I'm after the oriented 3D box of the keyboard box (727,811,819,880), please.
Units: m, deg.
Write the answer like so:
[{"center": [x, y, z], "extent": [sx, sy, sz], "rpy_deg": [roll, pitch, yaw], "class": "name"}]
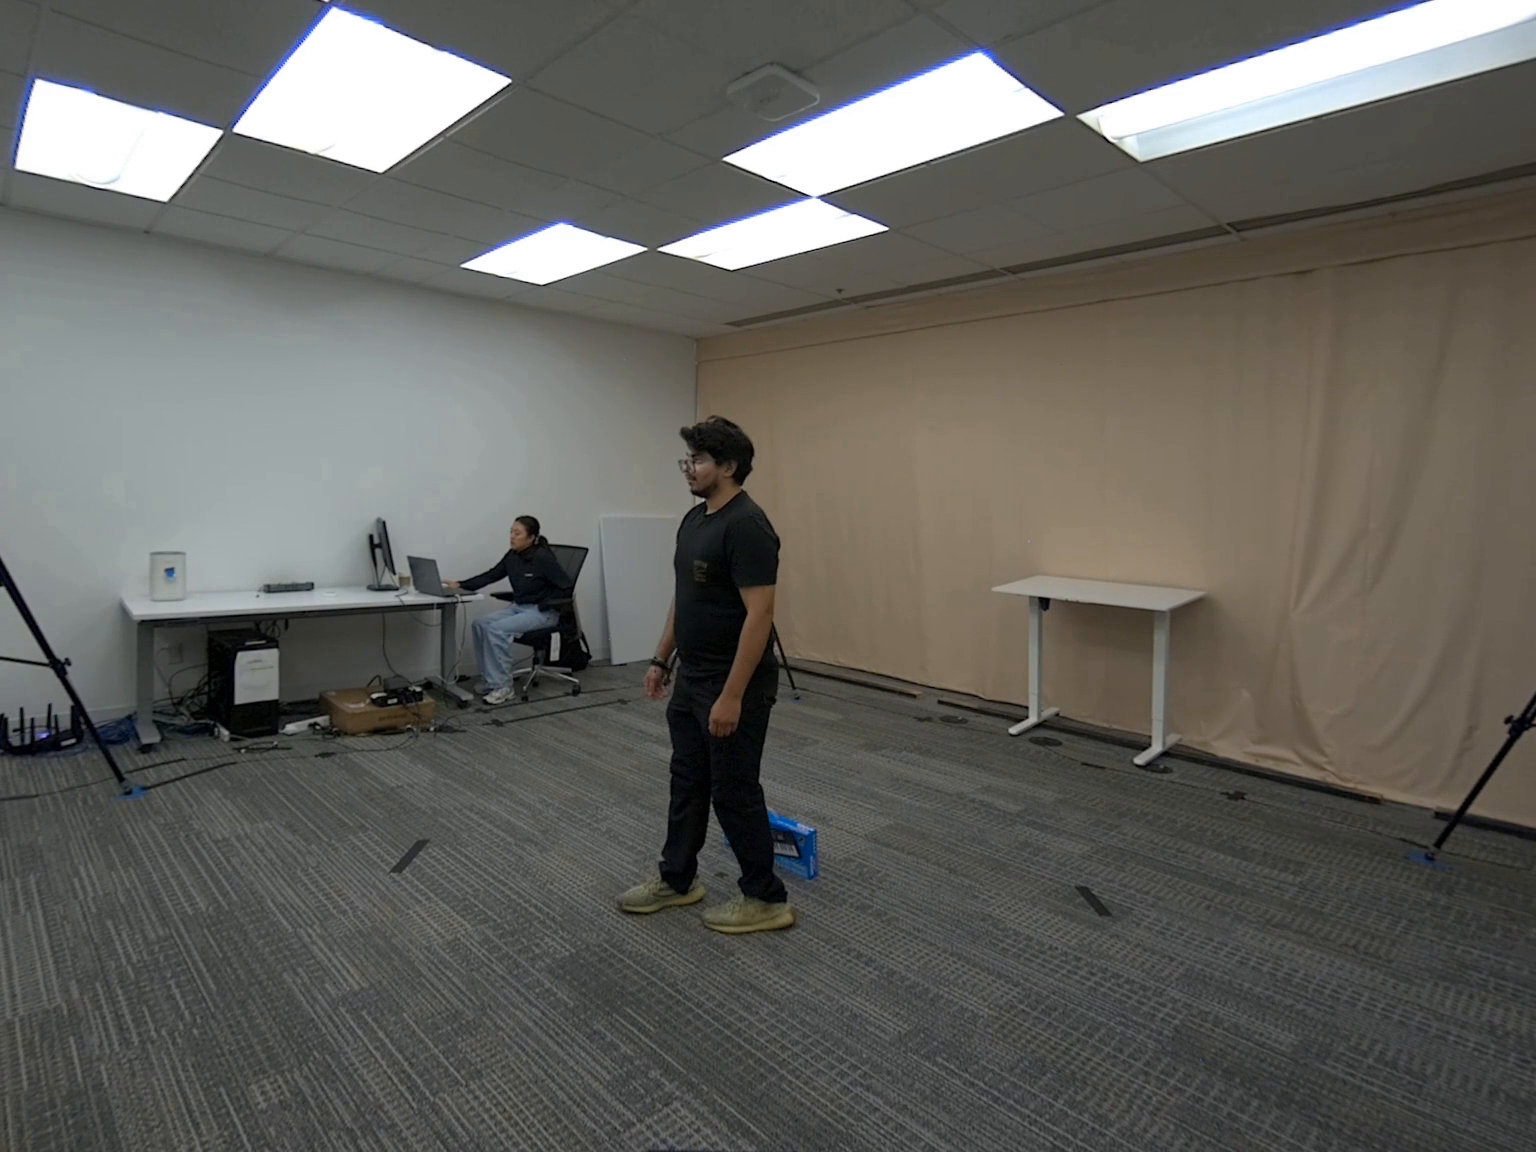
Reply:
[{"center": [-0.001, 1.007, 3.241], "extent": [0.448, 0.175, 0.058], "rpy_deg": [6, 10, 44], "class": "keyboard box"}]
